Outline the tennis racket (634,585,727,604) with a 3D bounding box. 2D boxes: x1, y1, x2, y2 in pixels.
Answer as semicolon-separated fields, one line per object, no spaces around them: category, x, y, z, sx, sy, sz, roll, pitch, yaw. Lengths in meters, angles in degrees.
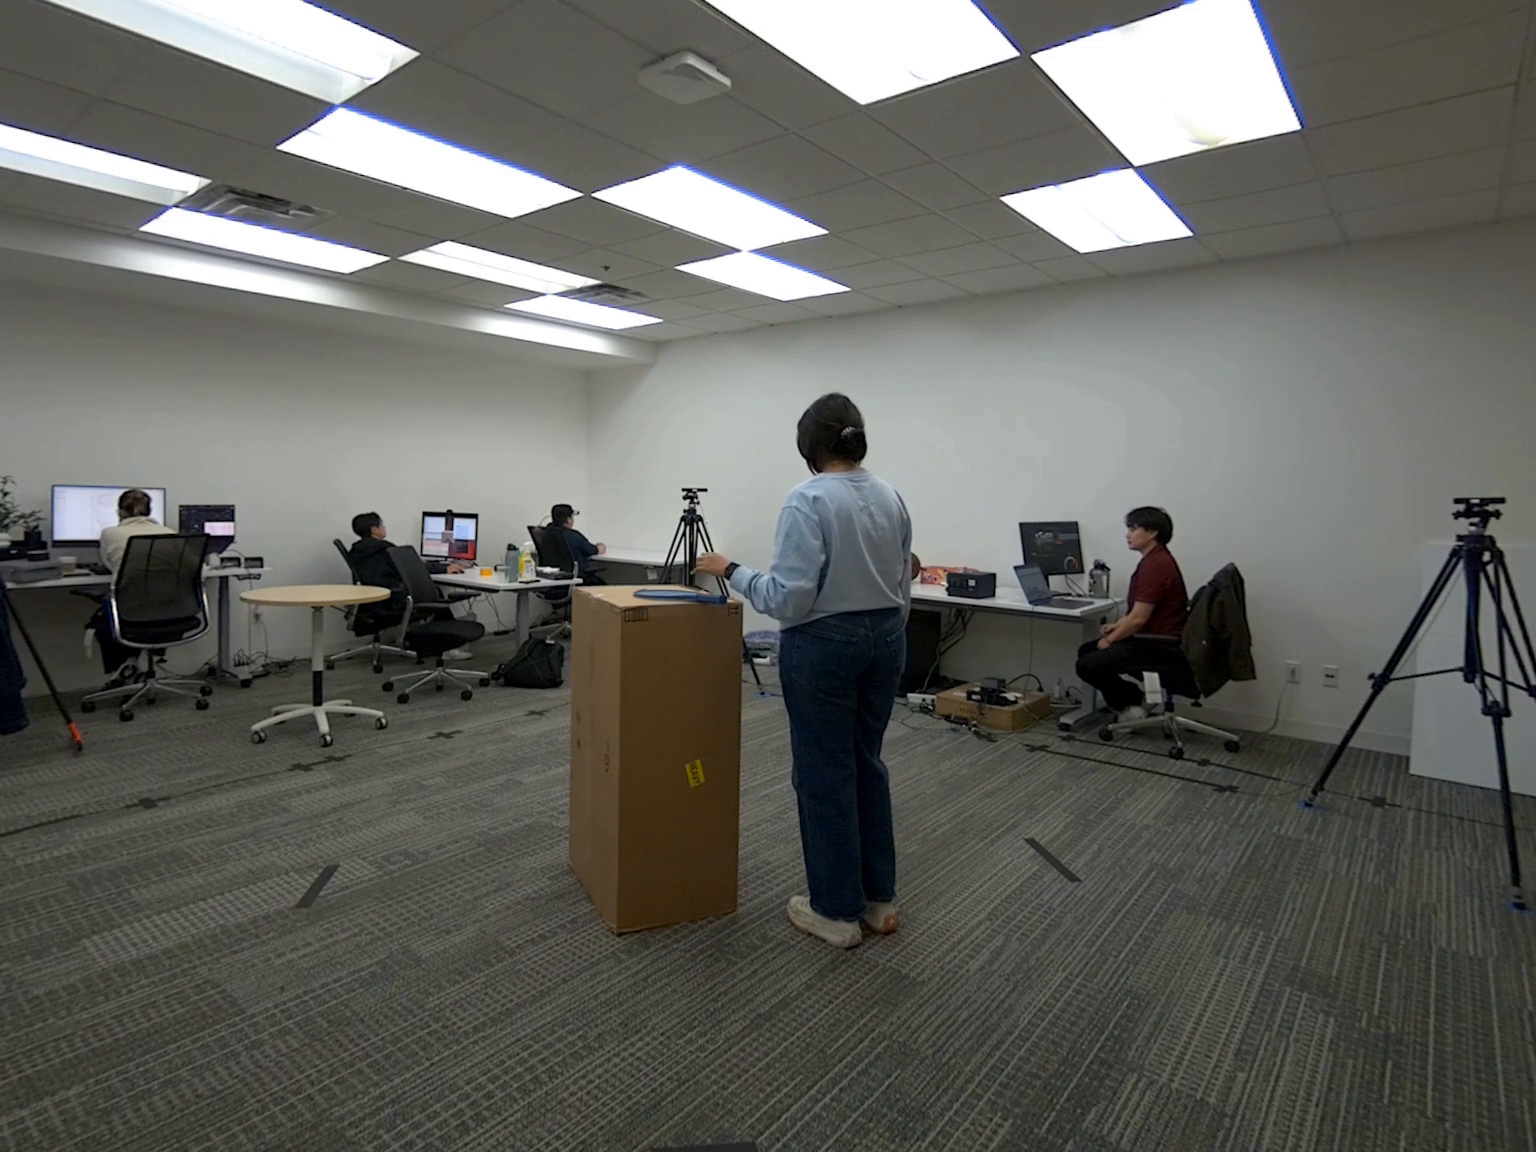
tennis racket;-0.278;0.064;2.808;0.207;0.032;0.447;-3;5;-41
